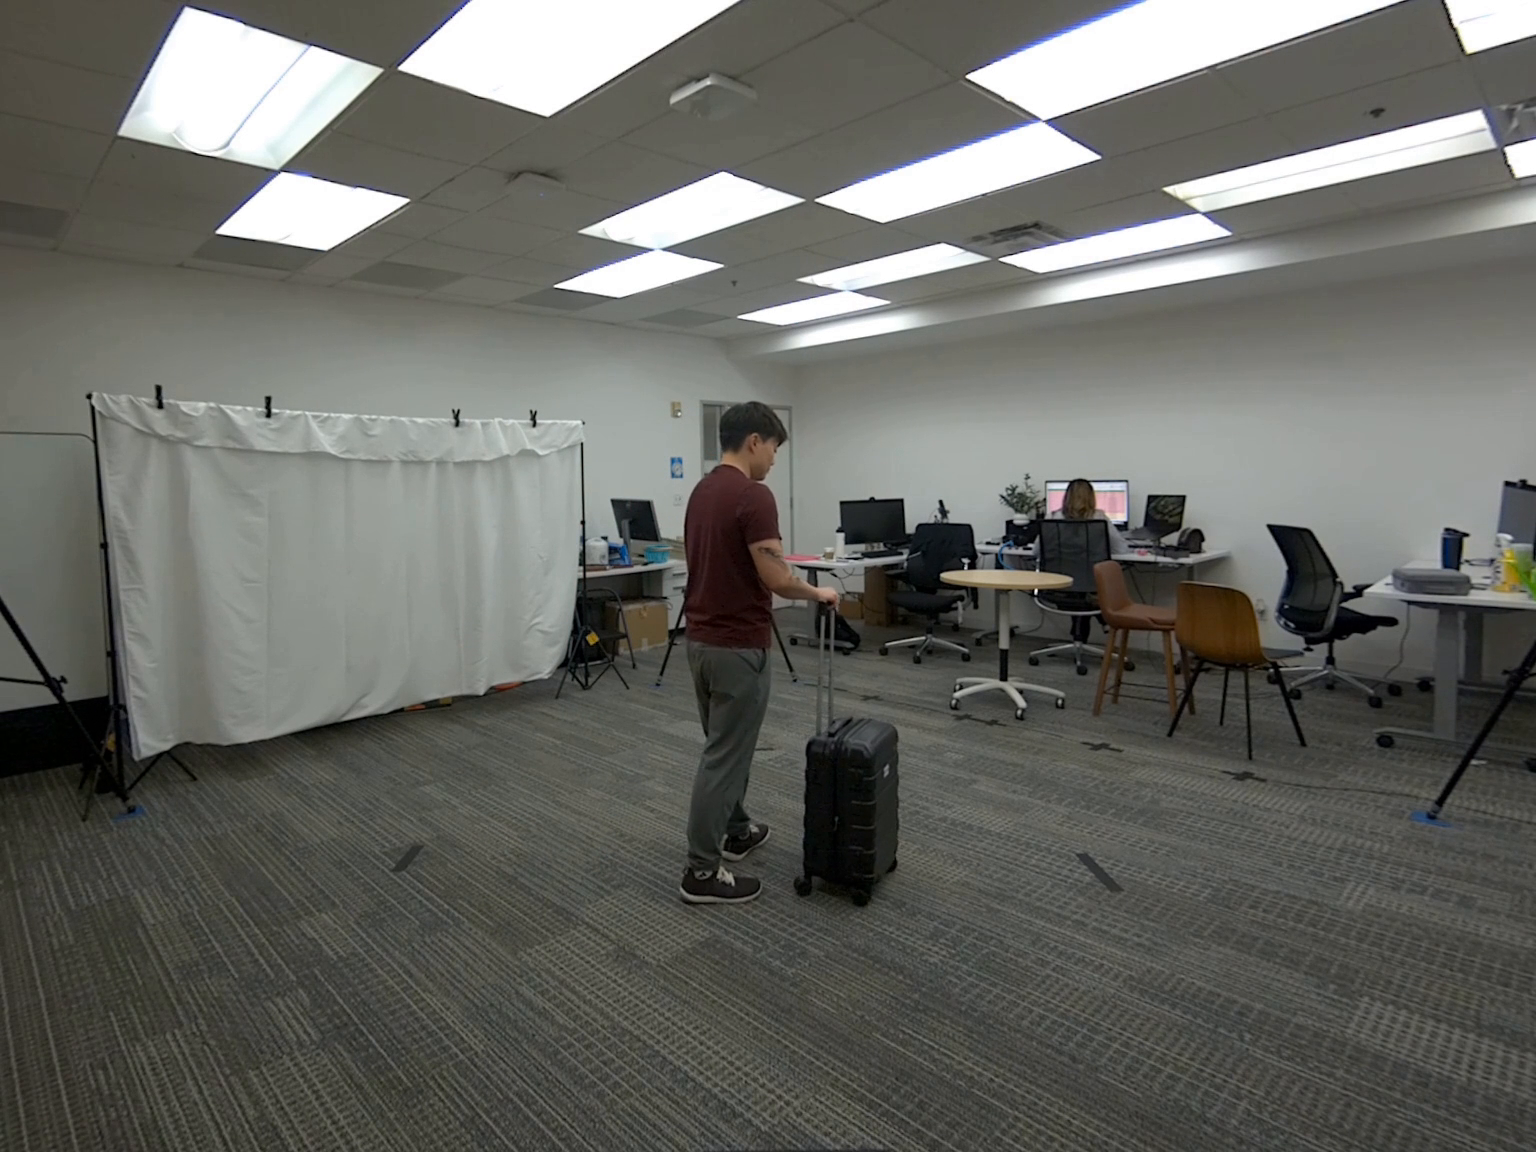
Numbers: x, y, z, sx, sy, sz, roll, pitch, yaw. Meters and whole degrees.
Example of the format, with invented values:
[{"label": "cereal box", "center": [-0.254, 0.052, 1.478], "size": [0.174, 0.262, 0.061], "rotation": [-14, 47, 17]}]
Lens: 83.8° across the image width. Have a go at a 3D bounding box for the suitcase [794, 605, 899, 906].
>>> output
[{"label": "suitcase", "center": [0.298, 0.580, 2.941], "size": [0.263, 0.975, 0.376], "rotation": [3, 4, 24]}]
